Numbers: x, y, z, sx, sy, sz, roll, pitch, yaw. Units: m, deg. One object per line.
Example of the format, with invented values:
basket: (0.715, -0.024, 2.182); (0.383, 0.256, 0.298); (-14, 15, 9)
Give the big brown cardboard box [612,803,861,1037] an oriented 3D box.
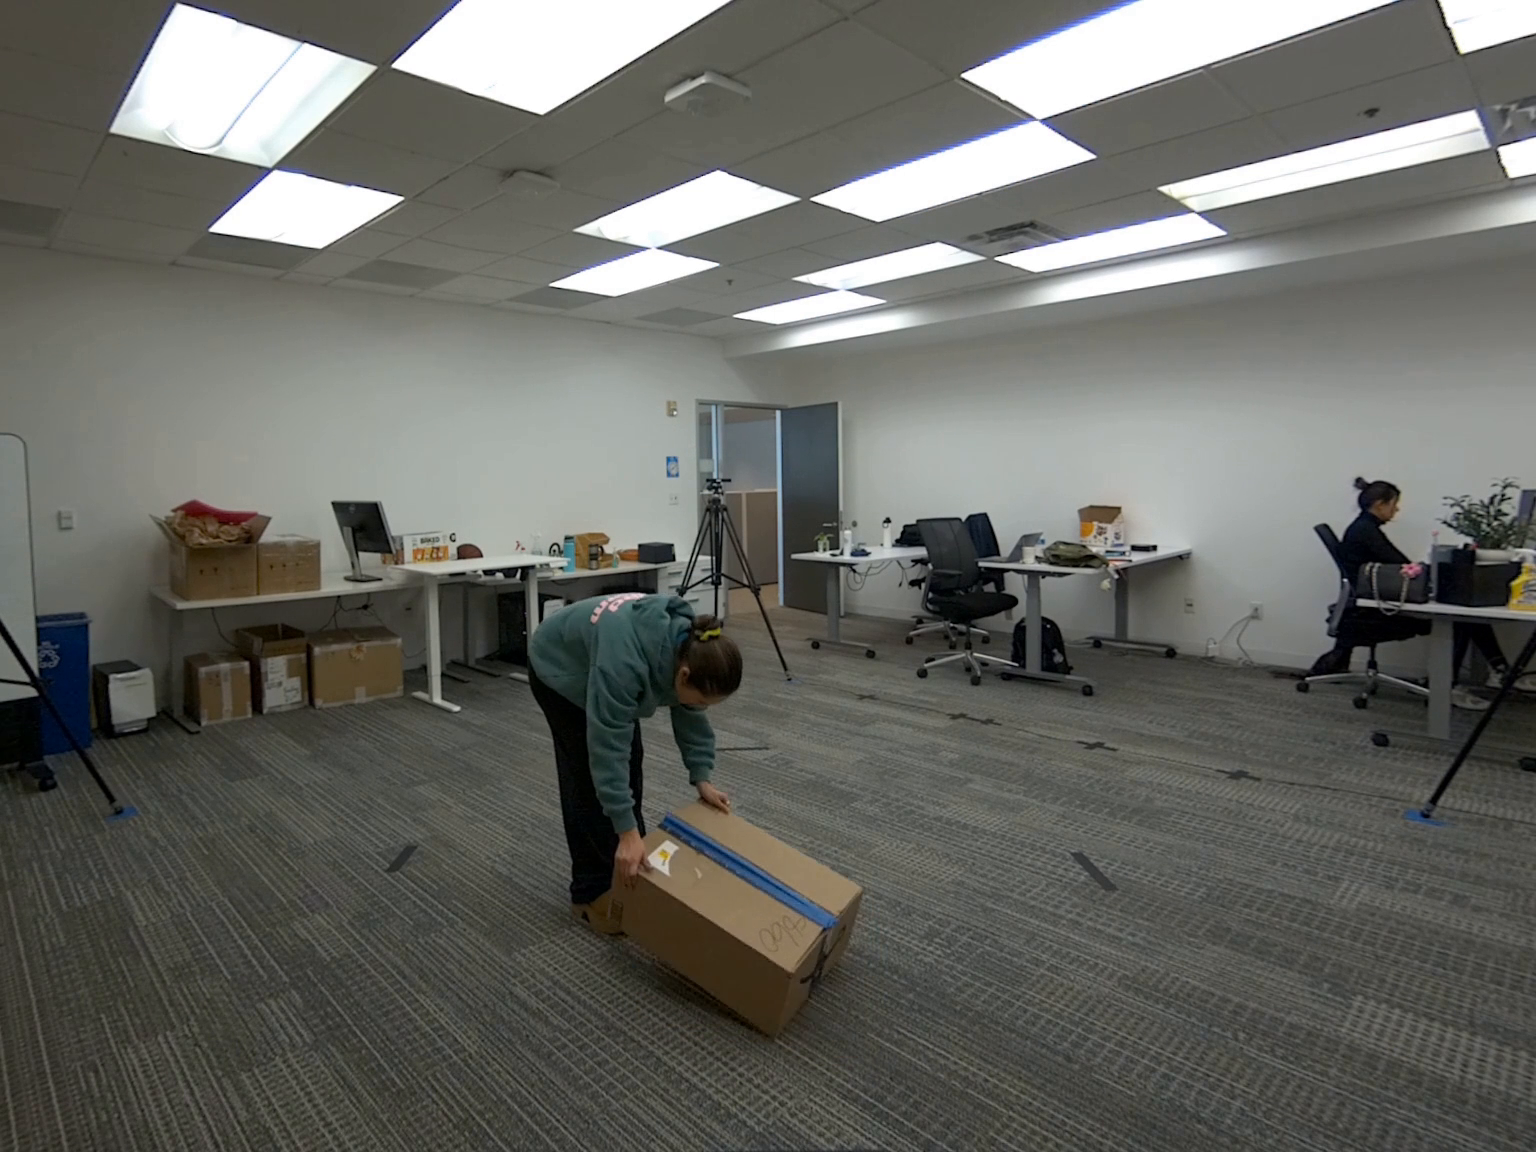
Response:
big brown cardboard box: (-0.097, 0.914, 2.403); (0.607, 0.230, 0.410); (22, 22, 27)
